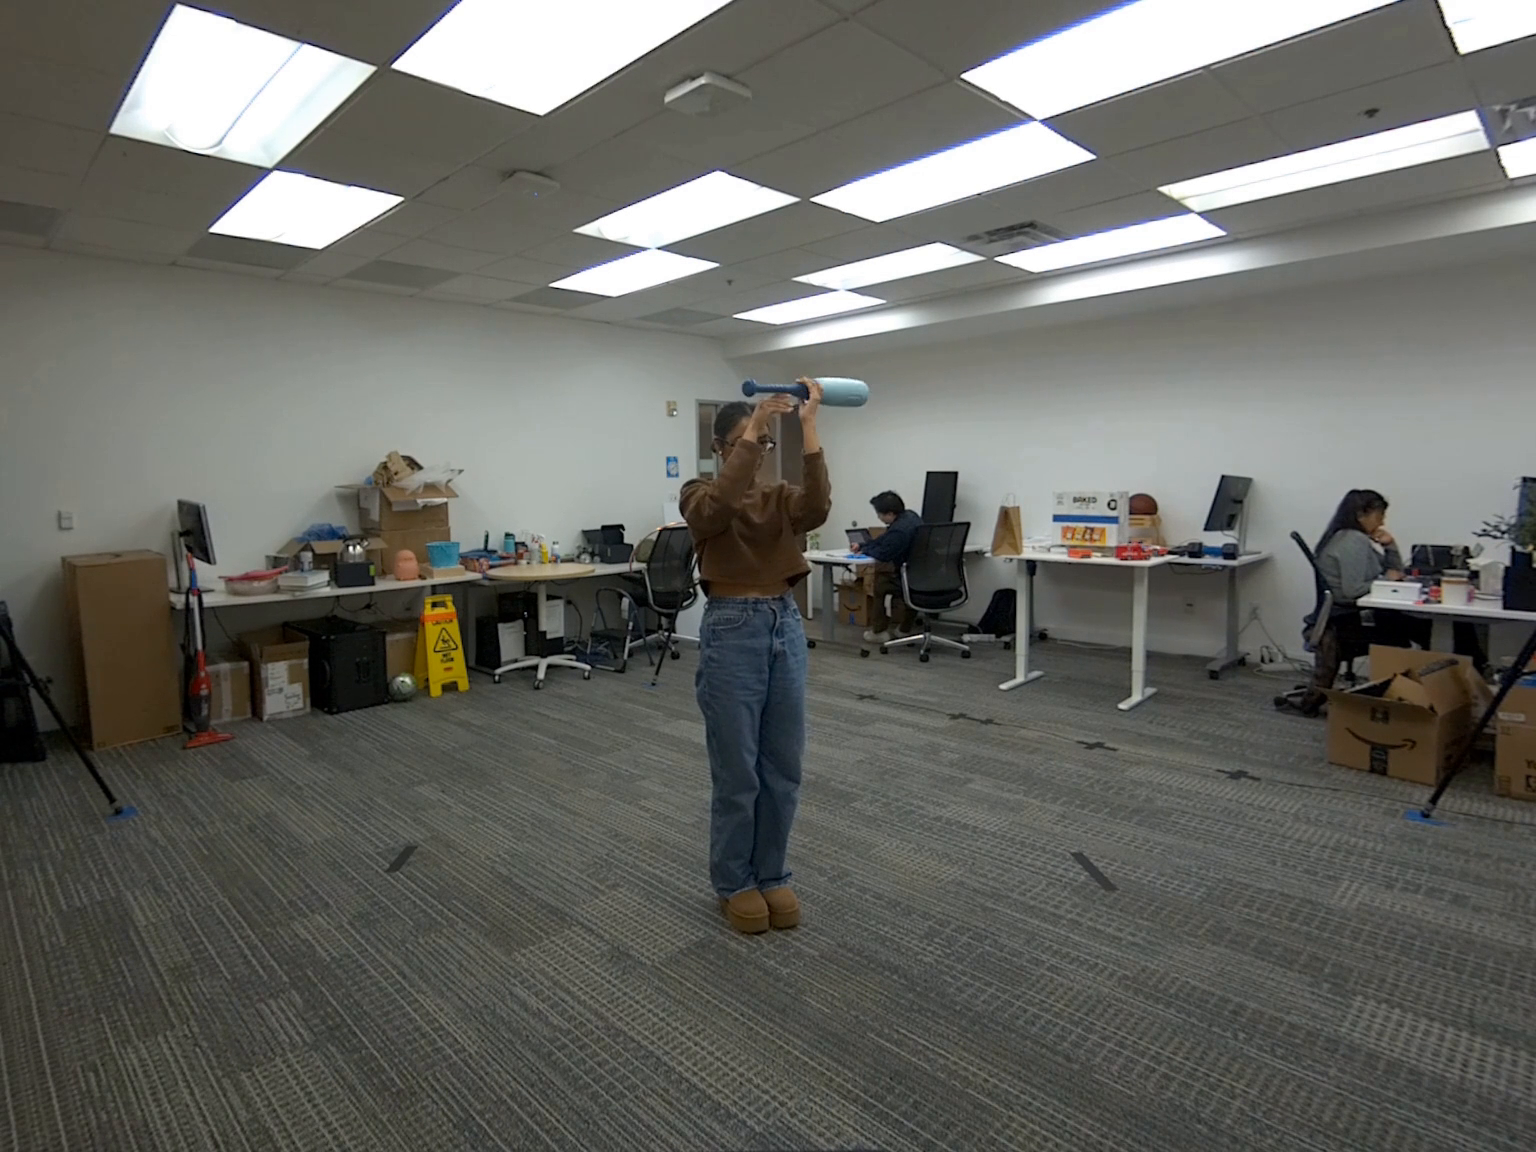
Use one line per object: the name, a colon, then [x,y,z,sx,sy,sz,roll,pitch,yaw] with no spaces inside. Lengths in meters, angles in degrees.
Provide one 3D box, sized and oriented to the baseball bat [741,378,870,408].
baseball bat: [0.116,-0.567,2.585,0.092,0.088,0.529,4,9,44]
